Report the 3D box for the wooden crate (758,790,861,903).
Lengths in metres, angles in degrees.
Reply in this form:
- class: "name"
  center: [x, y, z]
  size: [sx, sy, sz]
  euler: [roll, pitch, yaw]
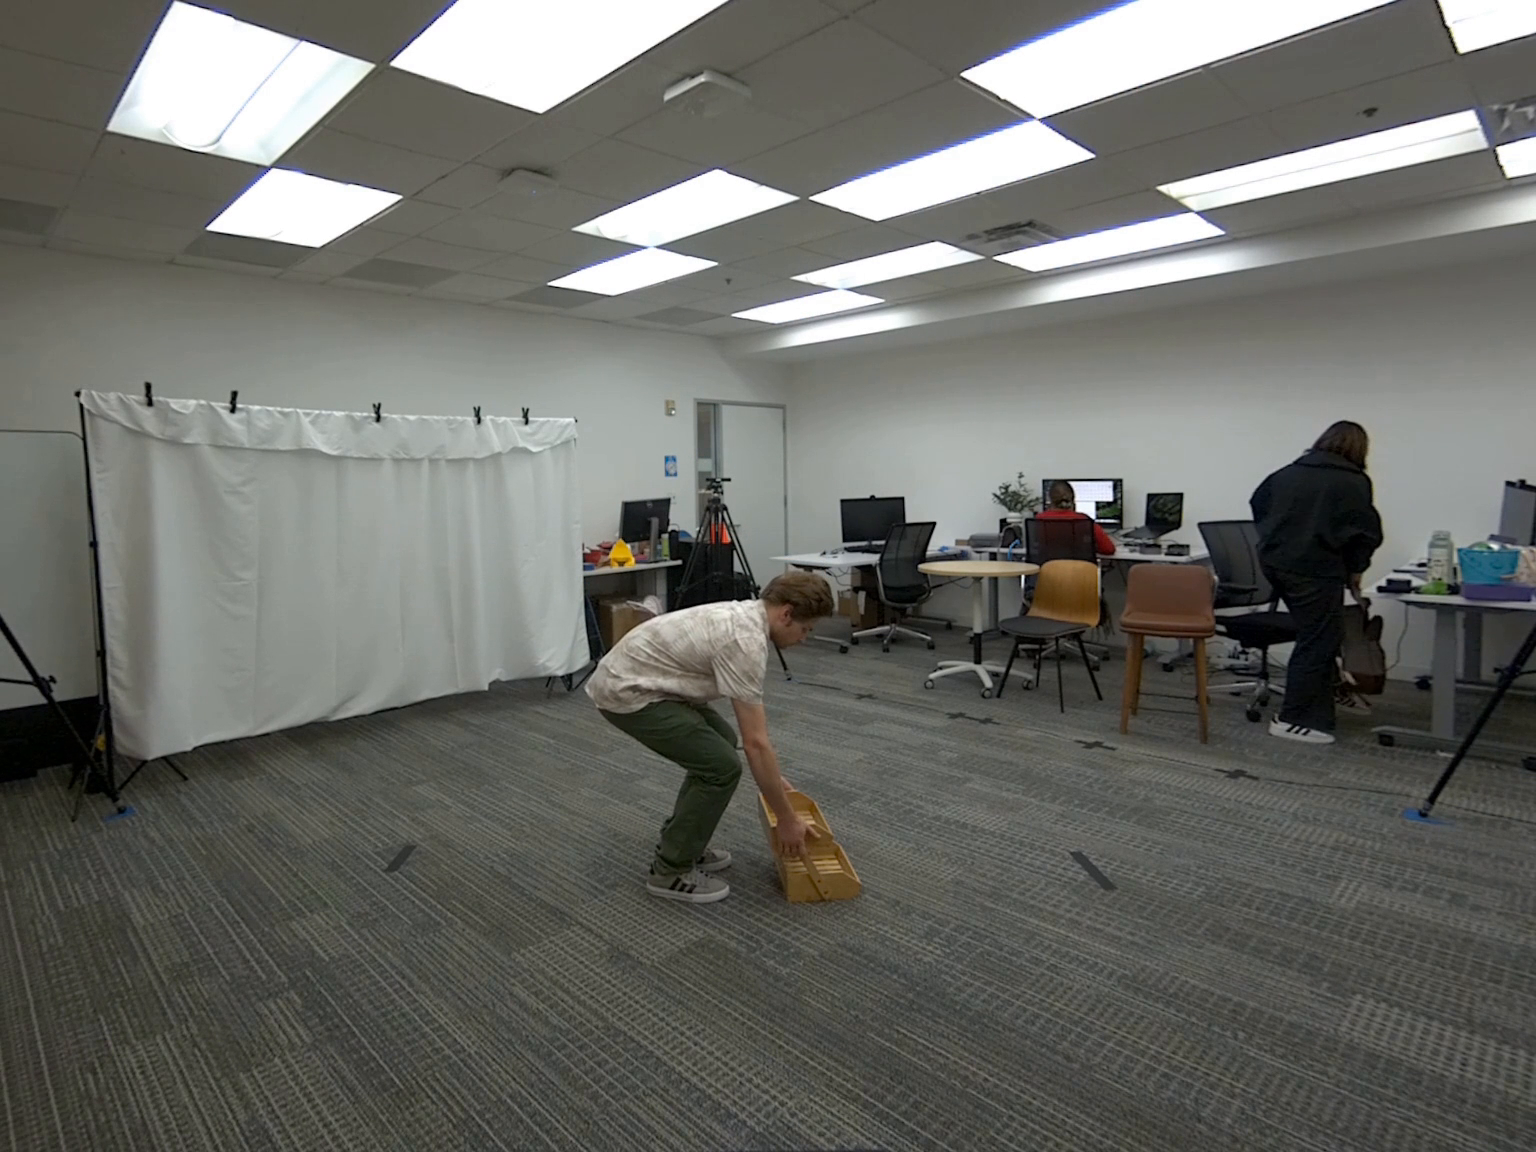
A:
- class: "wooden crate"
  center: [0.144, 0.922, 2.959]
  size: [0.300, 0.272, 0.328]
  euler: [-2, 5, -7]
